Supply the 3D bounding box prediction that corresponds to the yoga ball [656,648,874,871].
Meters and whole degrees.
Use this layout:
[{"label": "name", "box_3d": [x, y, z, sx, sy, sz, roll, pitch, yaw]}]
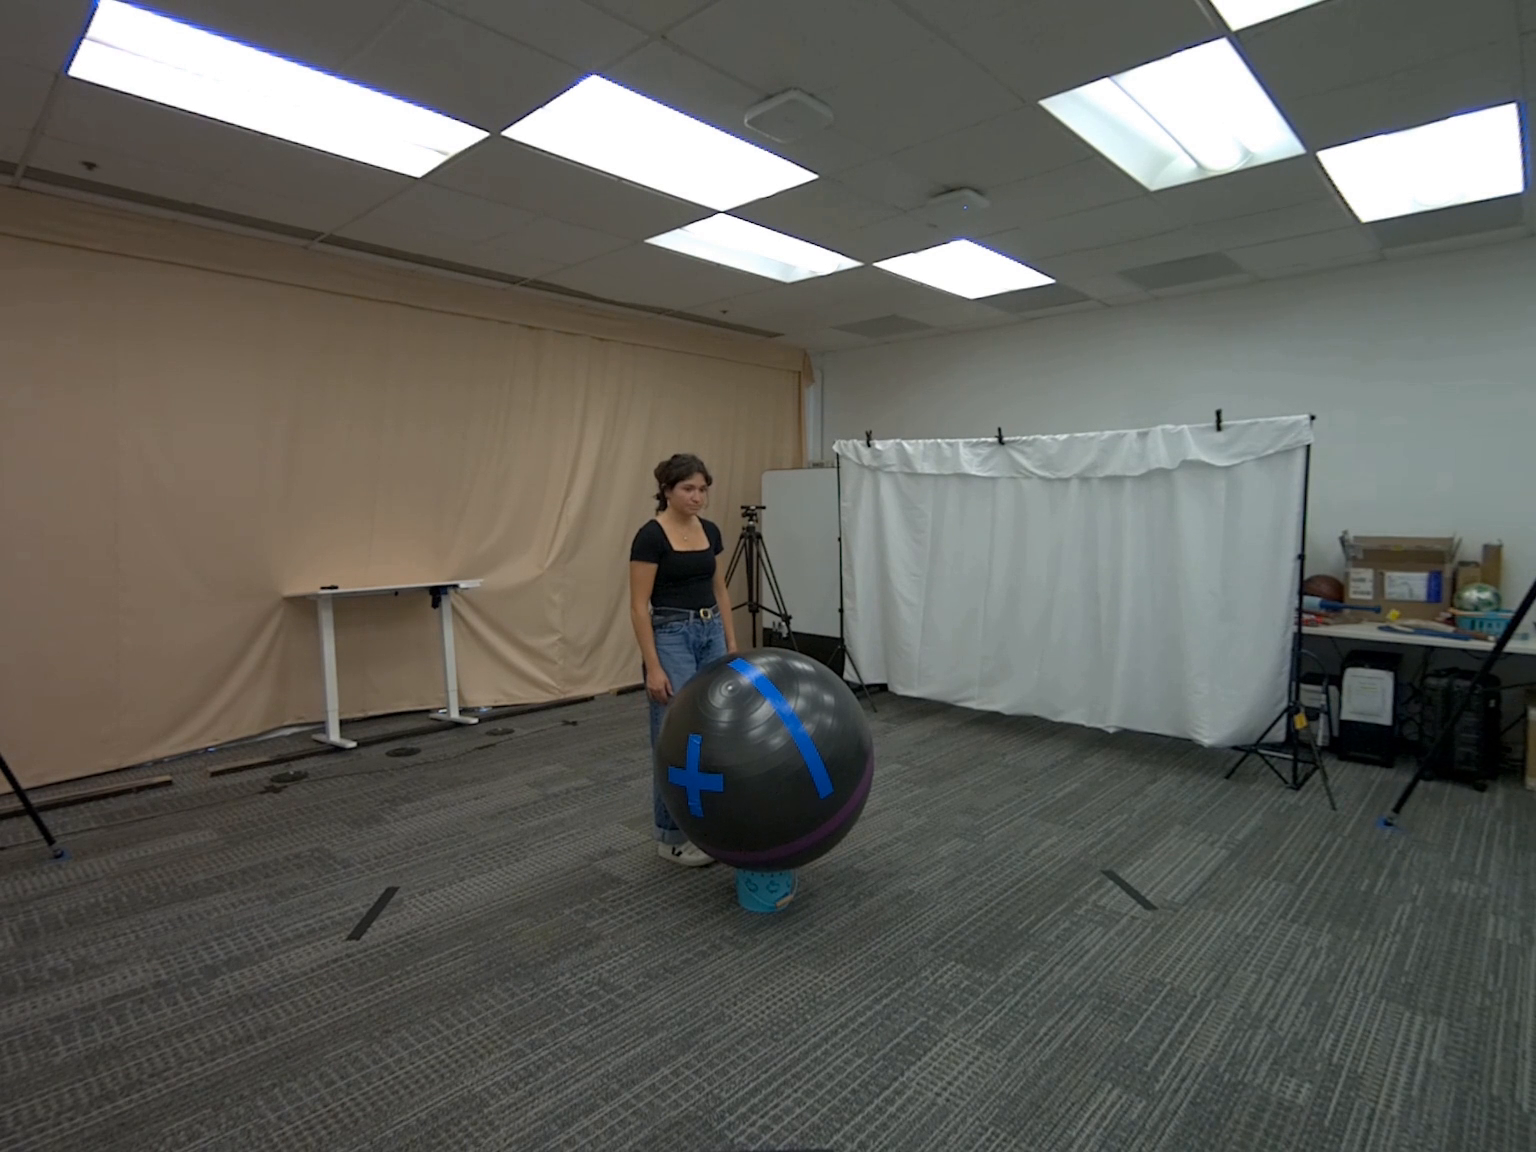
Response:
[{"label": "yoga ball", "box_3d": [-0.010, 0.634, 2.947, 0.757, 0.756, 0.760, 0, 4, -2]}]
